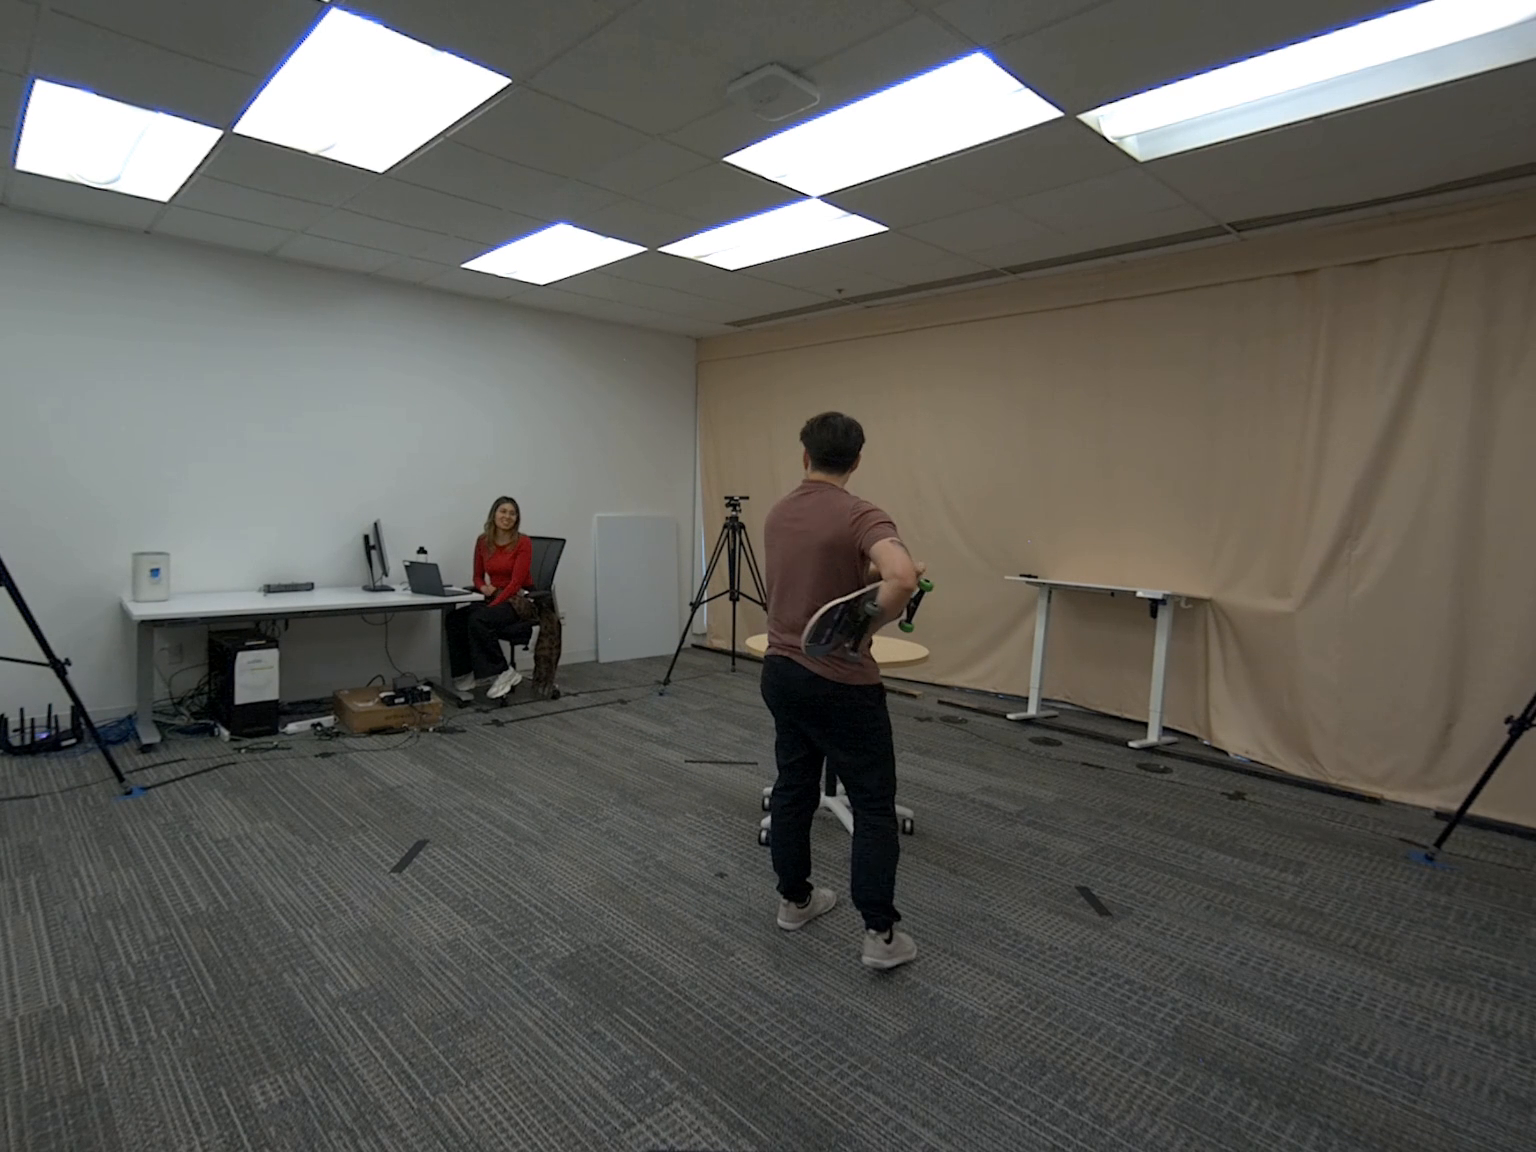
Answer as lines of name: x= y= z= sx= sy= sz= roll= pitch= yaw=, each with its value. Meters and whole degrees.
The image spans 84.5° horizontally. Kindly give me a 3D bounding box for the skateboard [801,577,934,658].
skateboard: x=0.332 y=0.112 z=2.522 sx=0.113 sy=0.192 sz=0.773 roll=30 pitch=24 yaw=24
